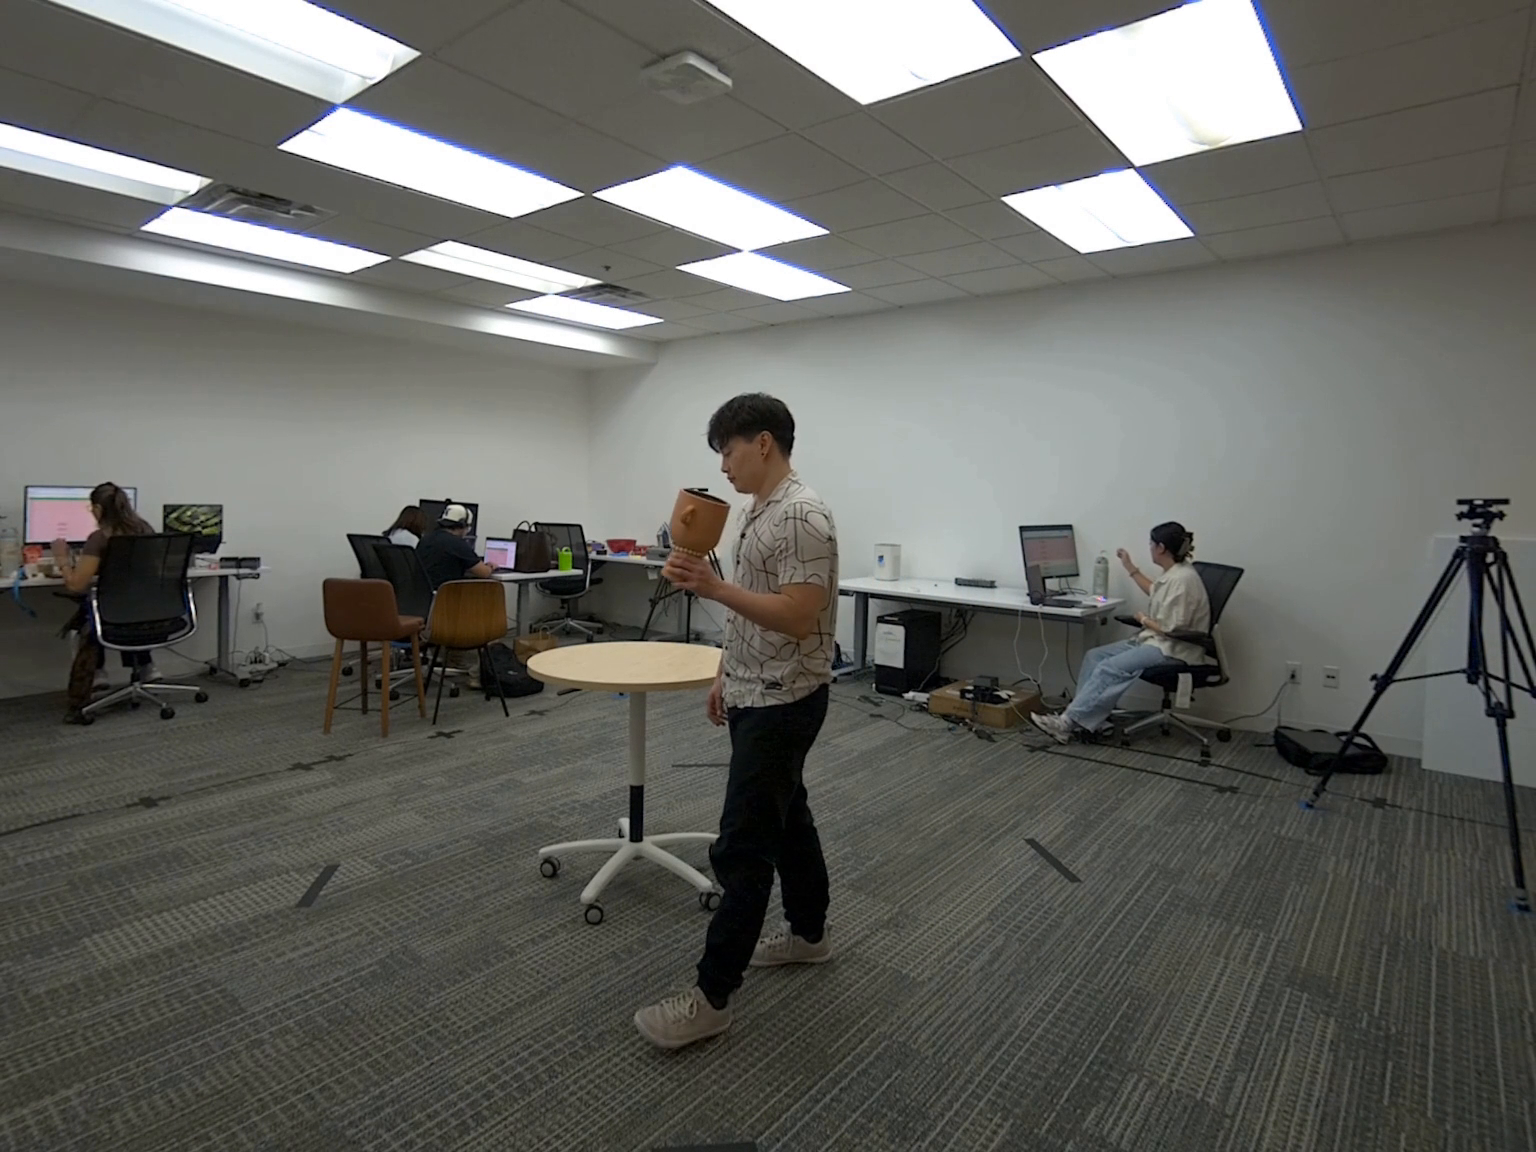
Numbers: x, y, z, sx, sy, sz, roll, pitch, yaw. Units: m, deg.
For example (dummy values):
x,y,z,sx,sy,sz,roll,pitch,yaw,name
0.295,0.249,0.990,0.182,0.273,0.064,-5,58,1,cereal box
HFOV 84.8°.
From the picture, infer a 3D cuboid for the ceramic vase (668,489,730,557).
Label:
x,y,z,sx,sy,sz,roll,pitch,yaw,name
-0.191,-0.103,2.120,0.154,0.218,0.140,12,12,-32,ceramic vase
